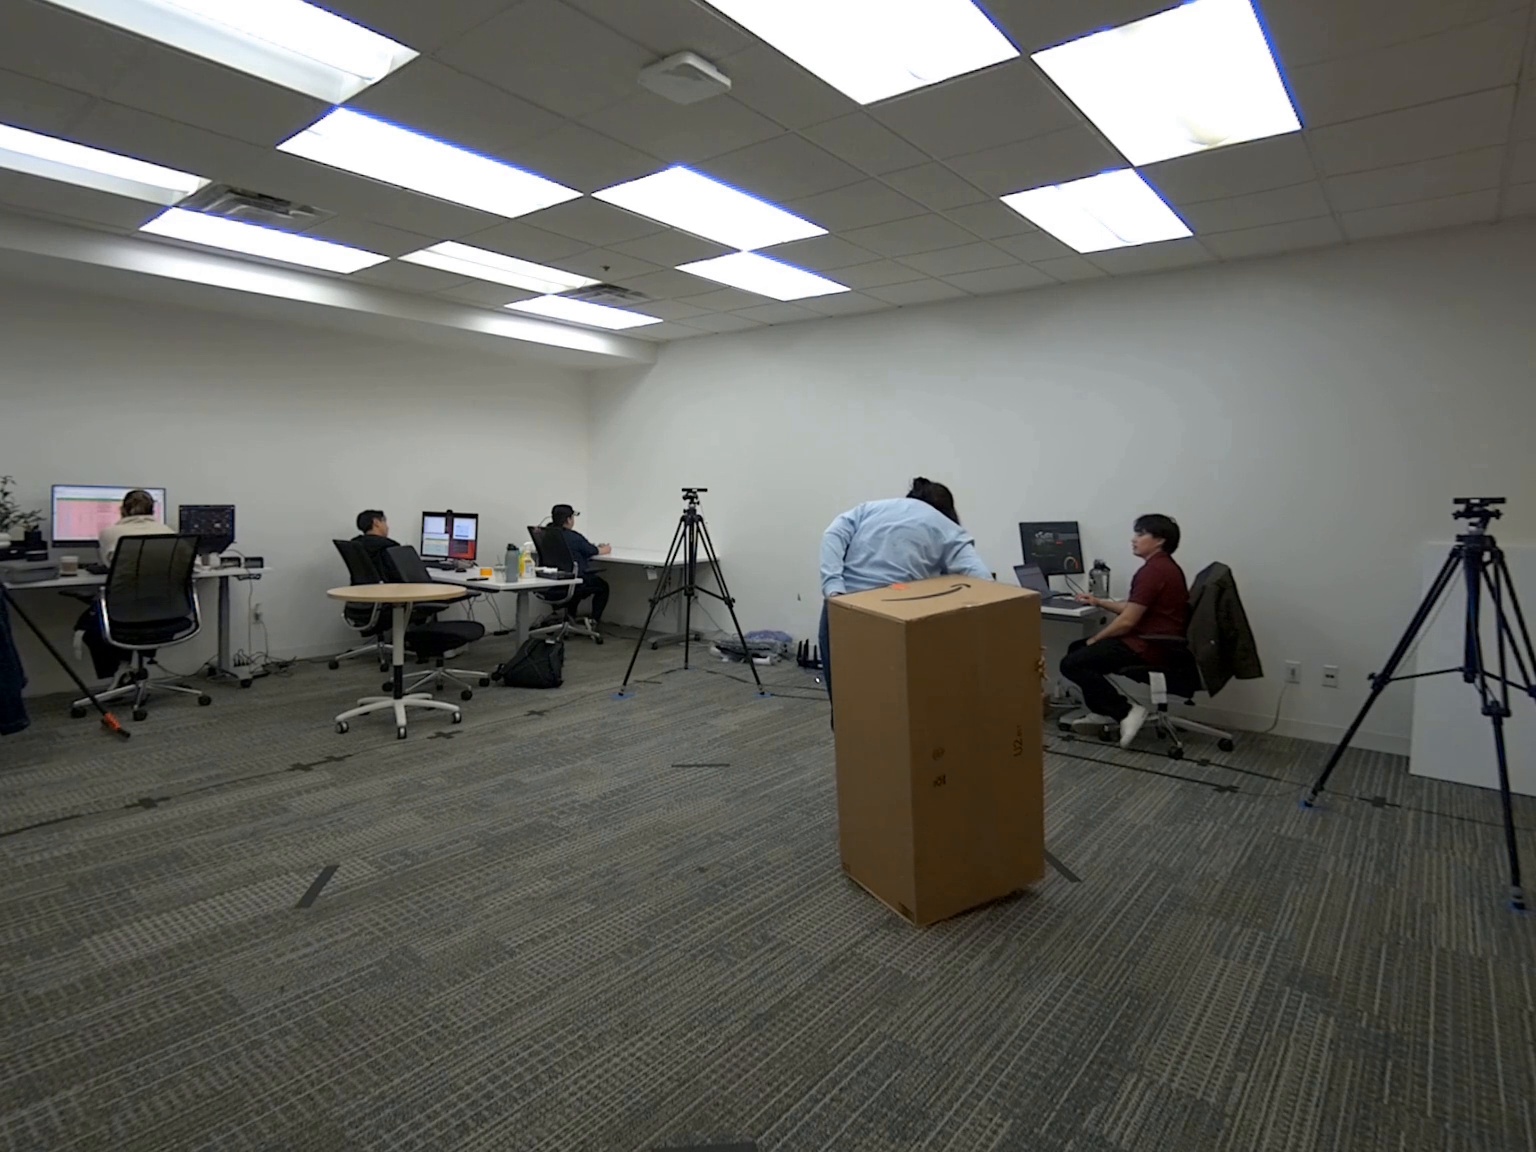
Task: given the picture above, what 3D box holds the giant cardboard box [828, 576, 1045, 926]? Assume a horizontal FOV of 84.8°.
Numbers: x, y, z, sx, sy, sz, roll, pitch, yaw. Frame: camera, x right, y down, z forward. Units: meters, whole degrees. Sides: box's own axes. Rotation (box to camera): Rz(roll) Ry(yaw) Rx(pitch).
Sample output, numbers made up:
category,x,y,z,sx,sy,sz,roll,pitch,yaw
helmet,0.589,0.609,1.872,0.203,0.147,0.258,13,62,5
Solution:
category,x,y,z,sx,sy,sz,roll,pitch,yaw
giant cardboard box,0.576,0.560,2.950,0.565,1.017,0.439,-8,10,-27
